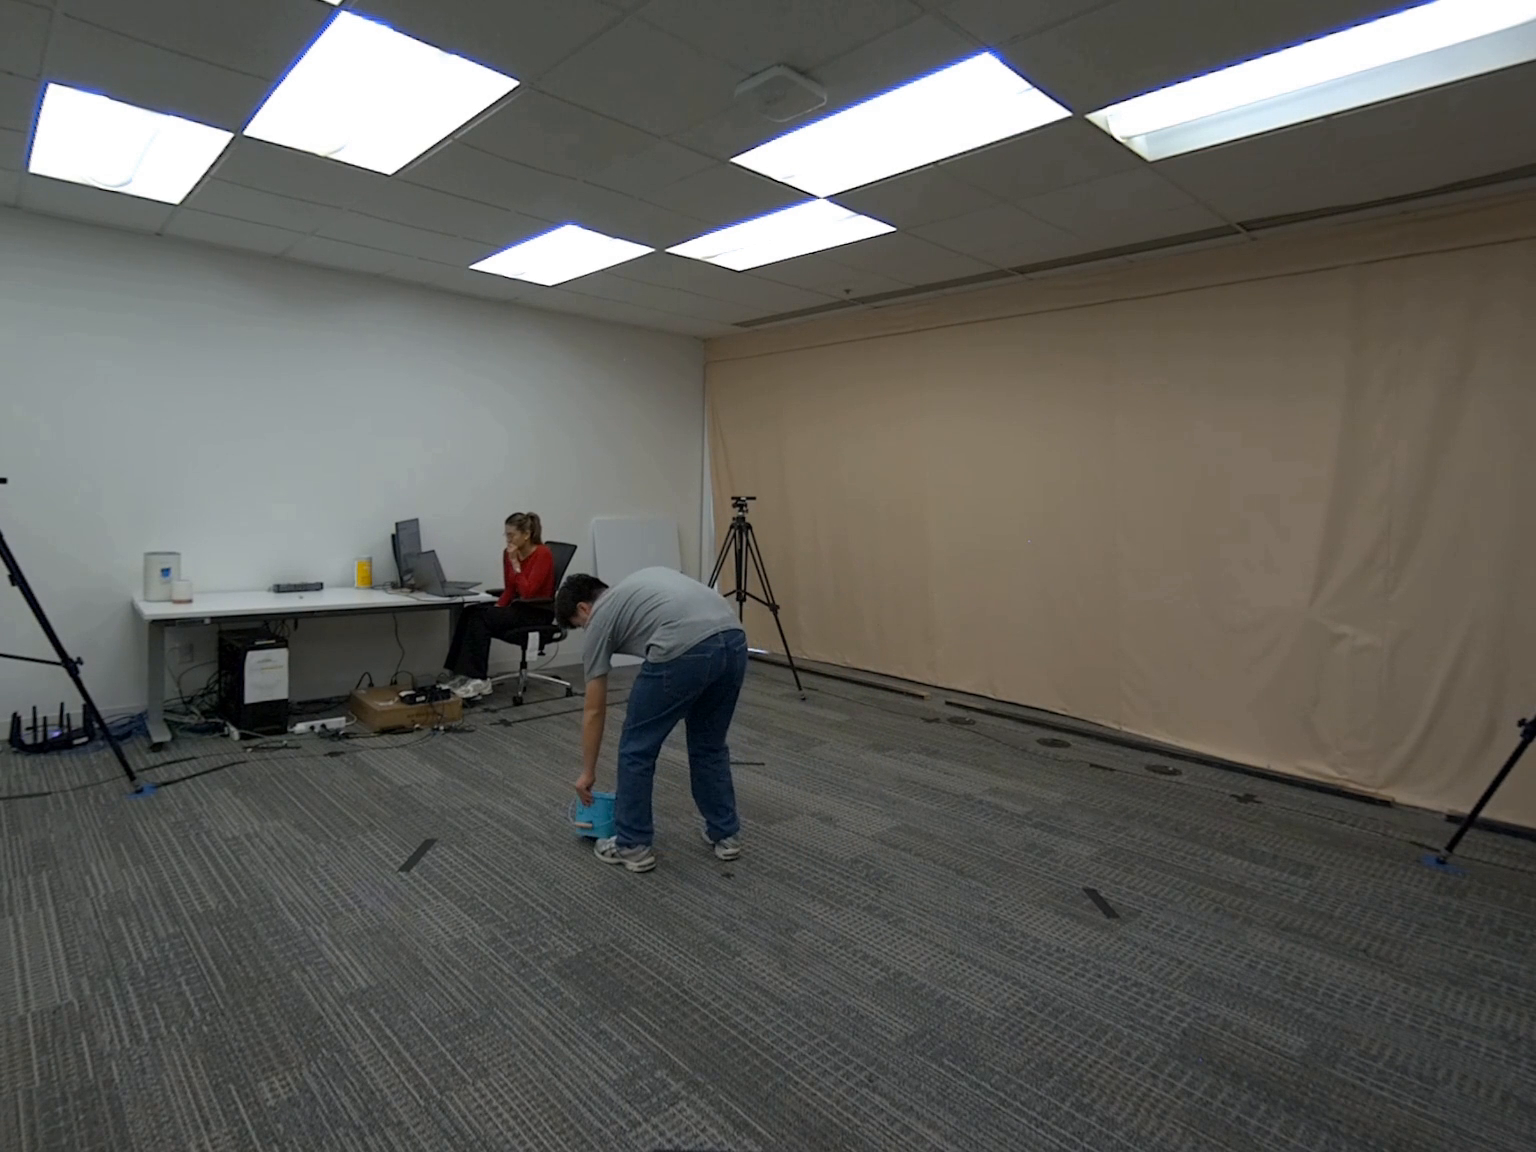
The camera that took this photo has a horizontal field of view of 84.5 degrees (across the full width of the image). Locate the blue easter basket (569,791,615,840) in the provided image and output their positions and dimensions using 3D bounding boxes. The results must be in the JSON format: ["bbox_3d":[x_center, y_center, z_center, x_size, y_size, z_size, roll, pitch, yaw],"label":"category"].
[{"bbox_3d":[-0.671,0.960,3.396,0.244,0.157,0.241,7,-12,0],"label":"blue easter basket"}]
